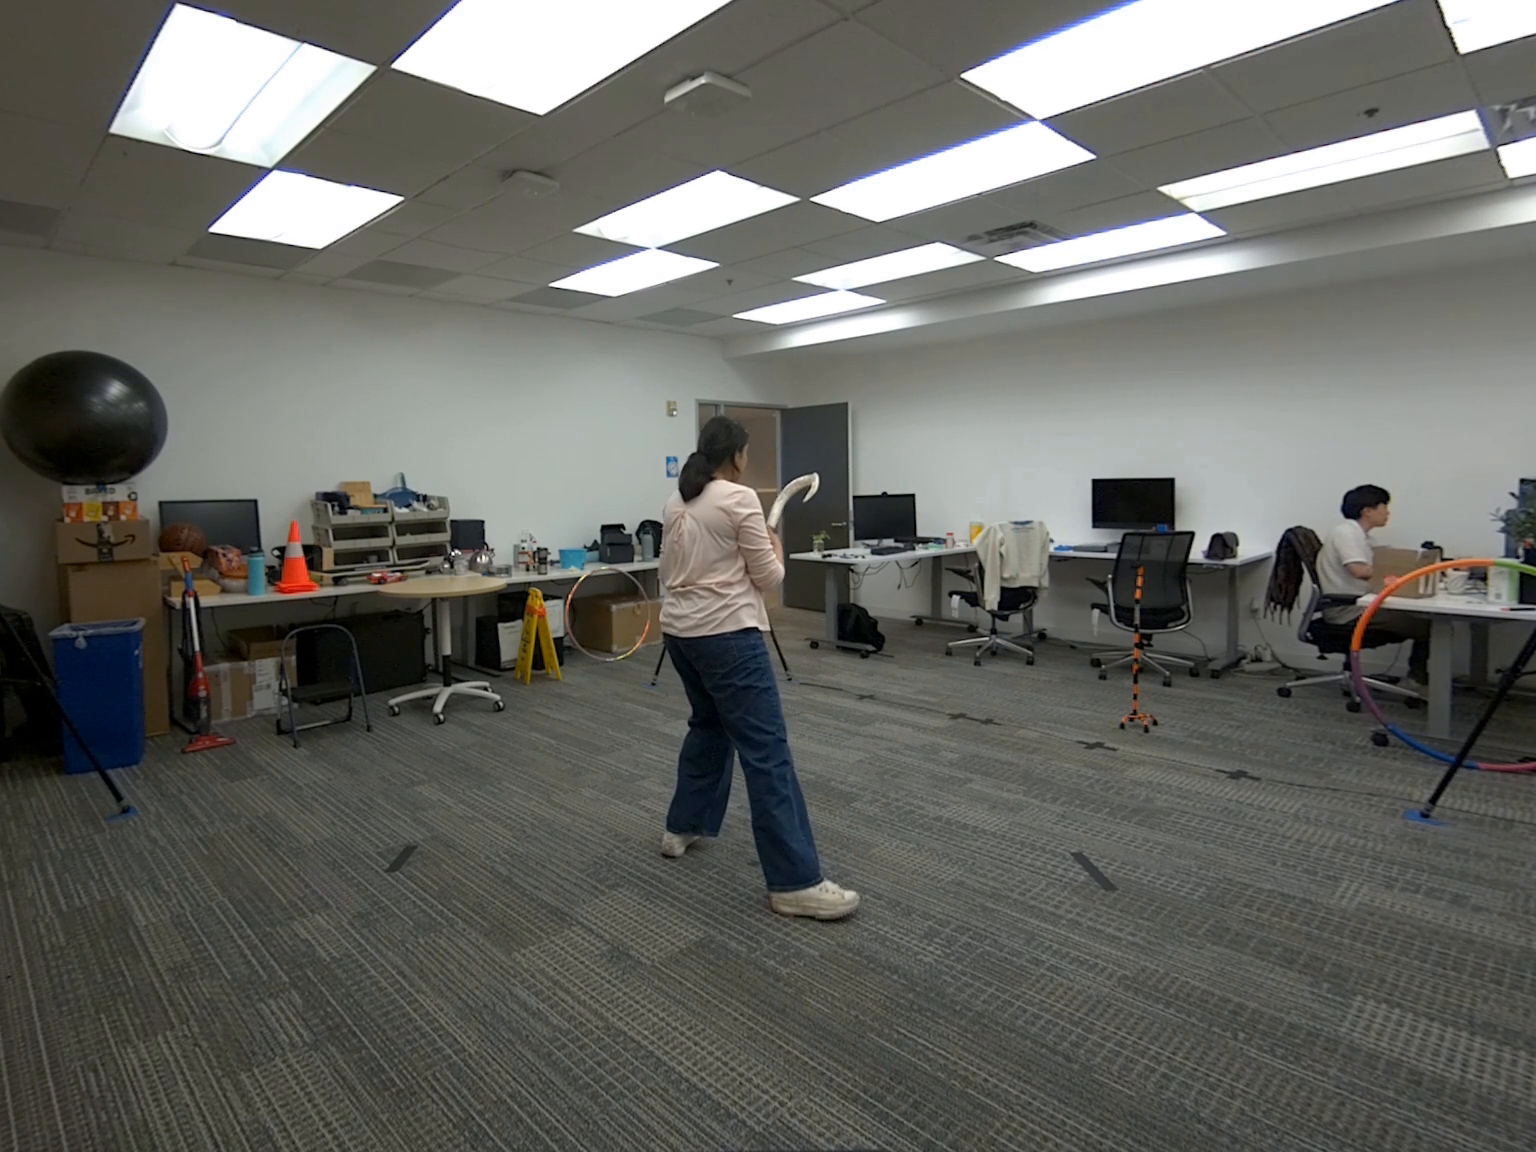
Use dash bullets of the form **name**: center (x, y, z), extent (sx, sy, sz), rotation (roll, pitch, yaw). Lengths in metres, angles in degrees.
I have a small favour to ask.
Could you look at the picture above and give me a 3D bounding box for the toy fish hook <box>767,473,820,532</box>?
- **toy fish hook**: center (0.061, -0.235, 3.336), extent (0.228, 0.047, 0.510), rotation (-19, 33, 51)
